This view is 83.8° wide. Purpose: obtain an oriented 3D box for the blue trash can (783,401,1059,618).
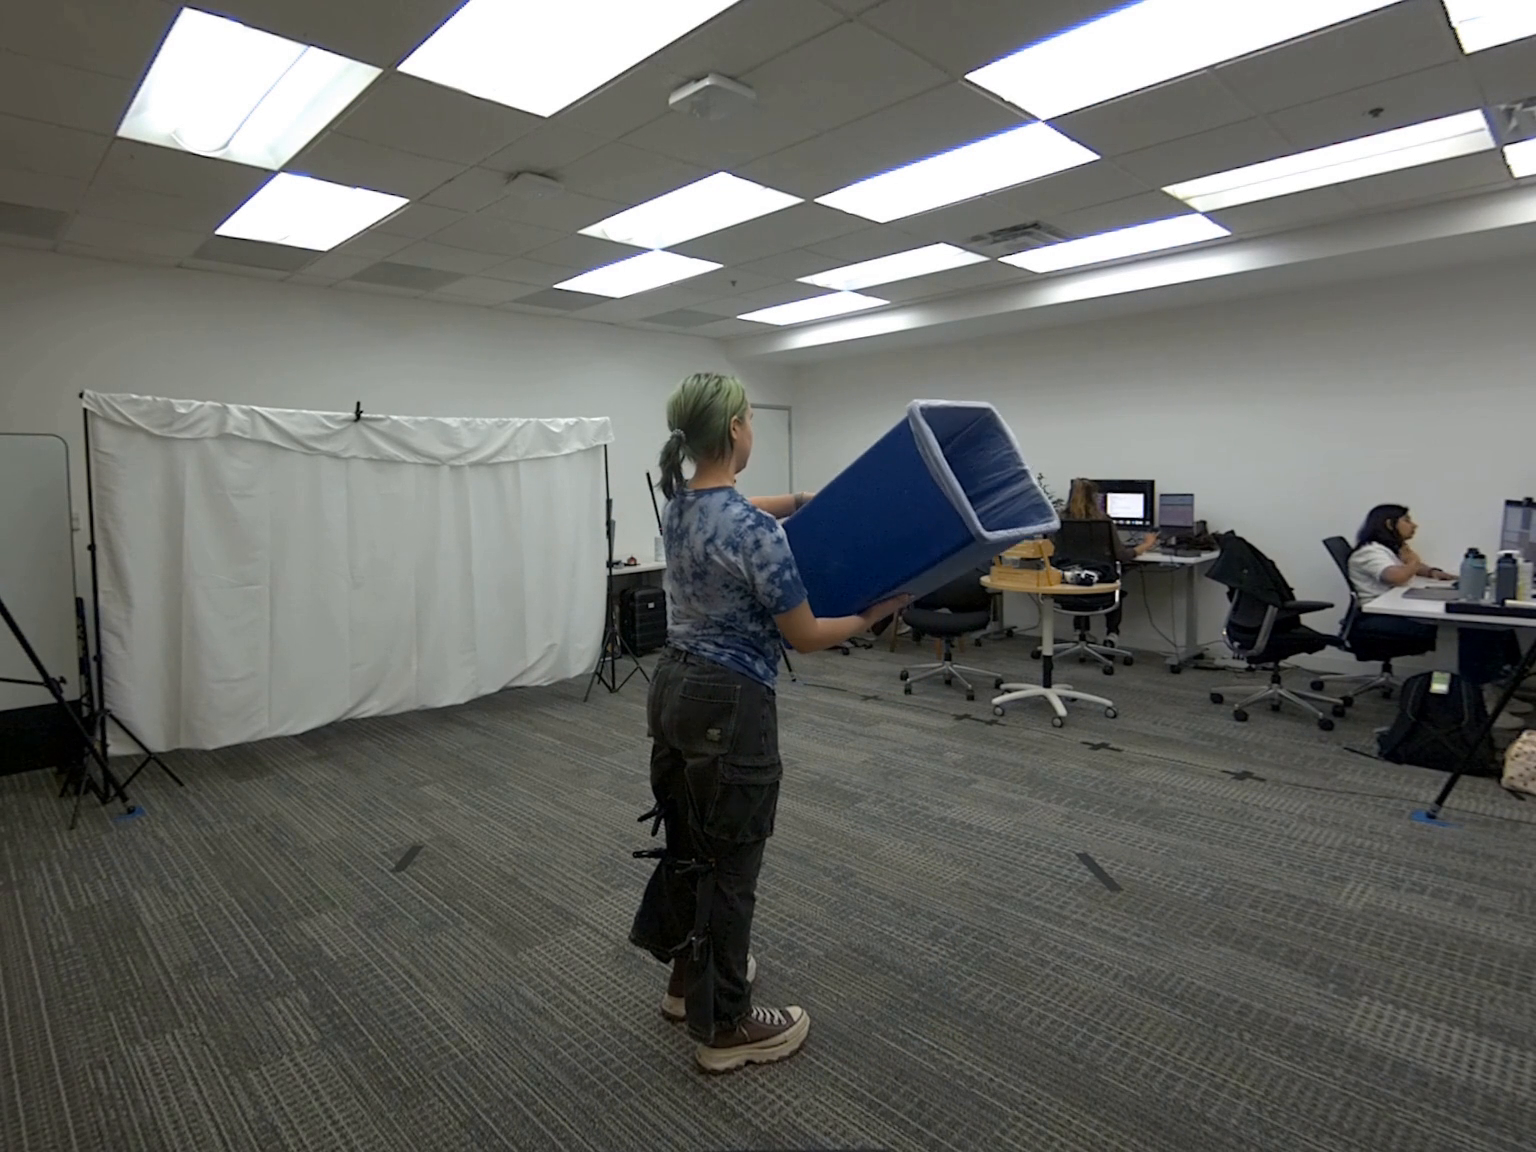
[{"bbox_3d":[0.311,-0.094,2.235,0.365,0.386,0.717,-8,-23,-45],"label":"blue trash can"}]
